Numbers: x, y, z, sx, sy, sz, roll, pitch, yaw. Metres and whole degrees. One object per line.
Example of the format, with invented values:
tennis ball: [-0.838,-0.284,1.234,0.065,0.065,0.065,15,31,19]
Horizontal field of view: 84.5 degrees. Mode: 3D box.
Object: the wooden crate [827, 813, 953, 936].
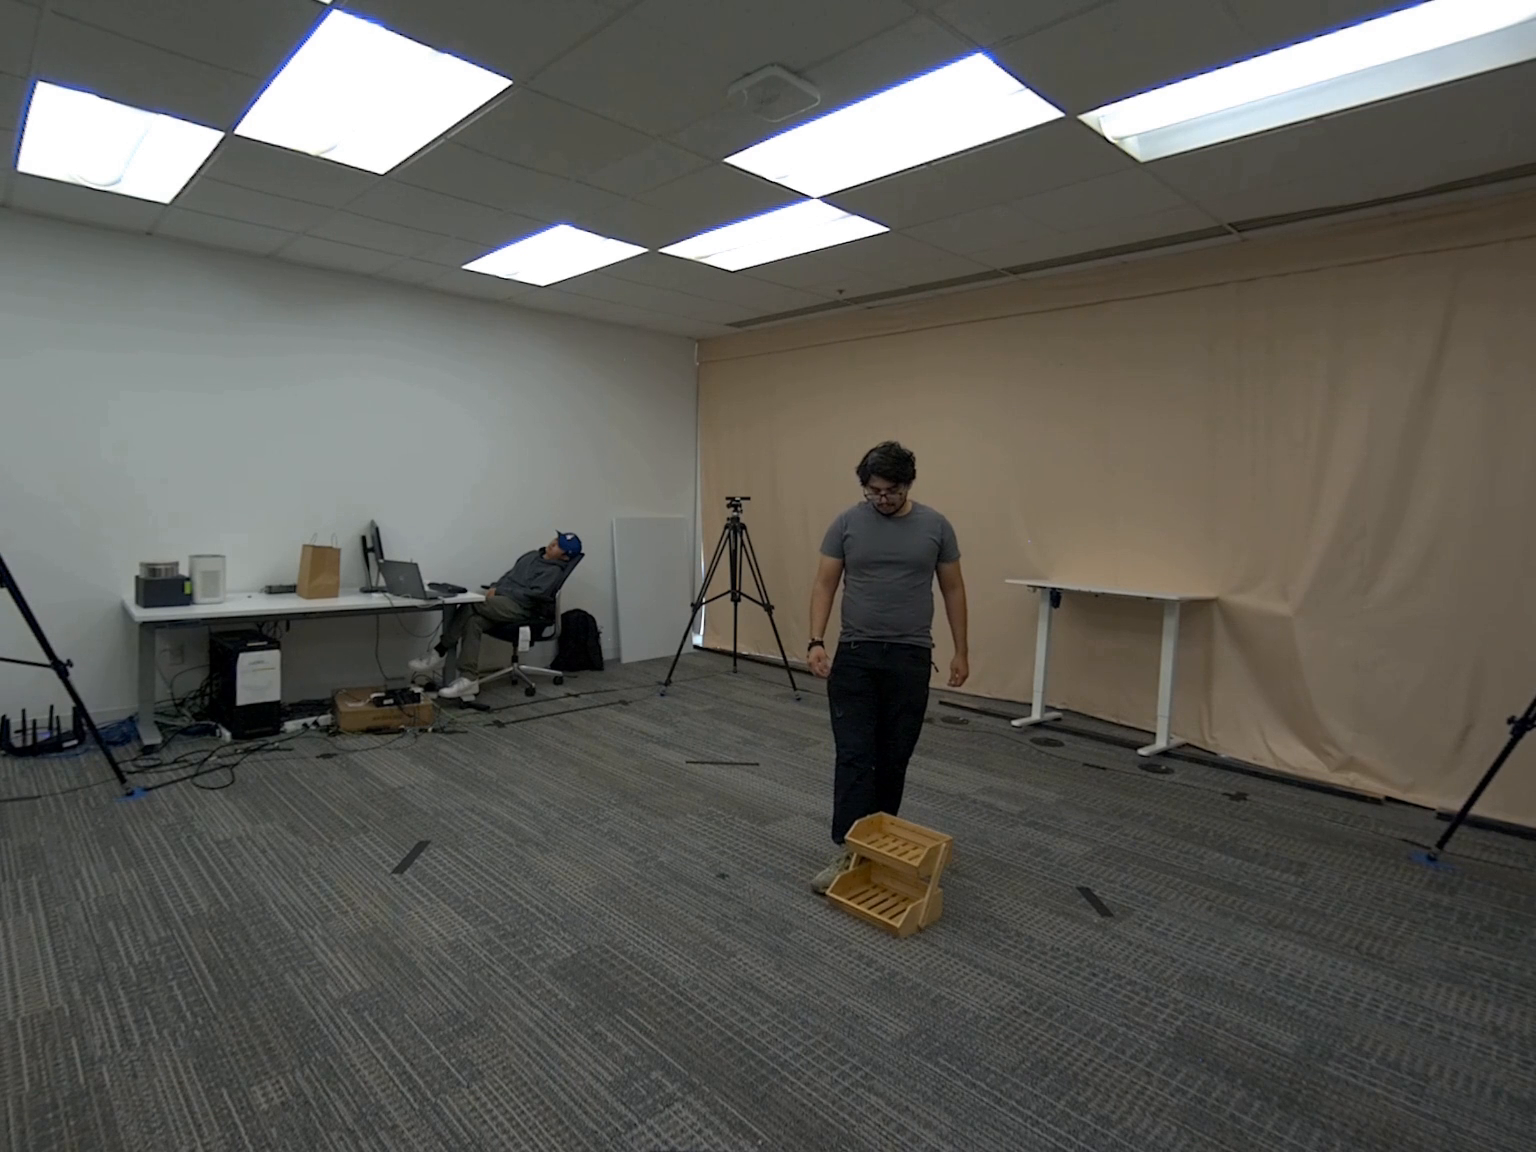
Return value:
wooden crate: [0.407,1.007,2.867,0.333,0.273,0.295,5,5,44]
